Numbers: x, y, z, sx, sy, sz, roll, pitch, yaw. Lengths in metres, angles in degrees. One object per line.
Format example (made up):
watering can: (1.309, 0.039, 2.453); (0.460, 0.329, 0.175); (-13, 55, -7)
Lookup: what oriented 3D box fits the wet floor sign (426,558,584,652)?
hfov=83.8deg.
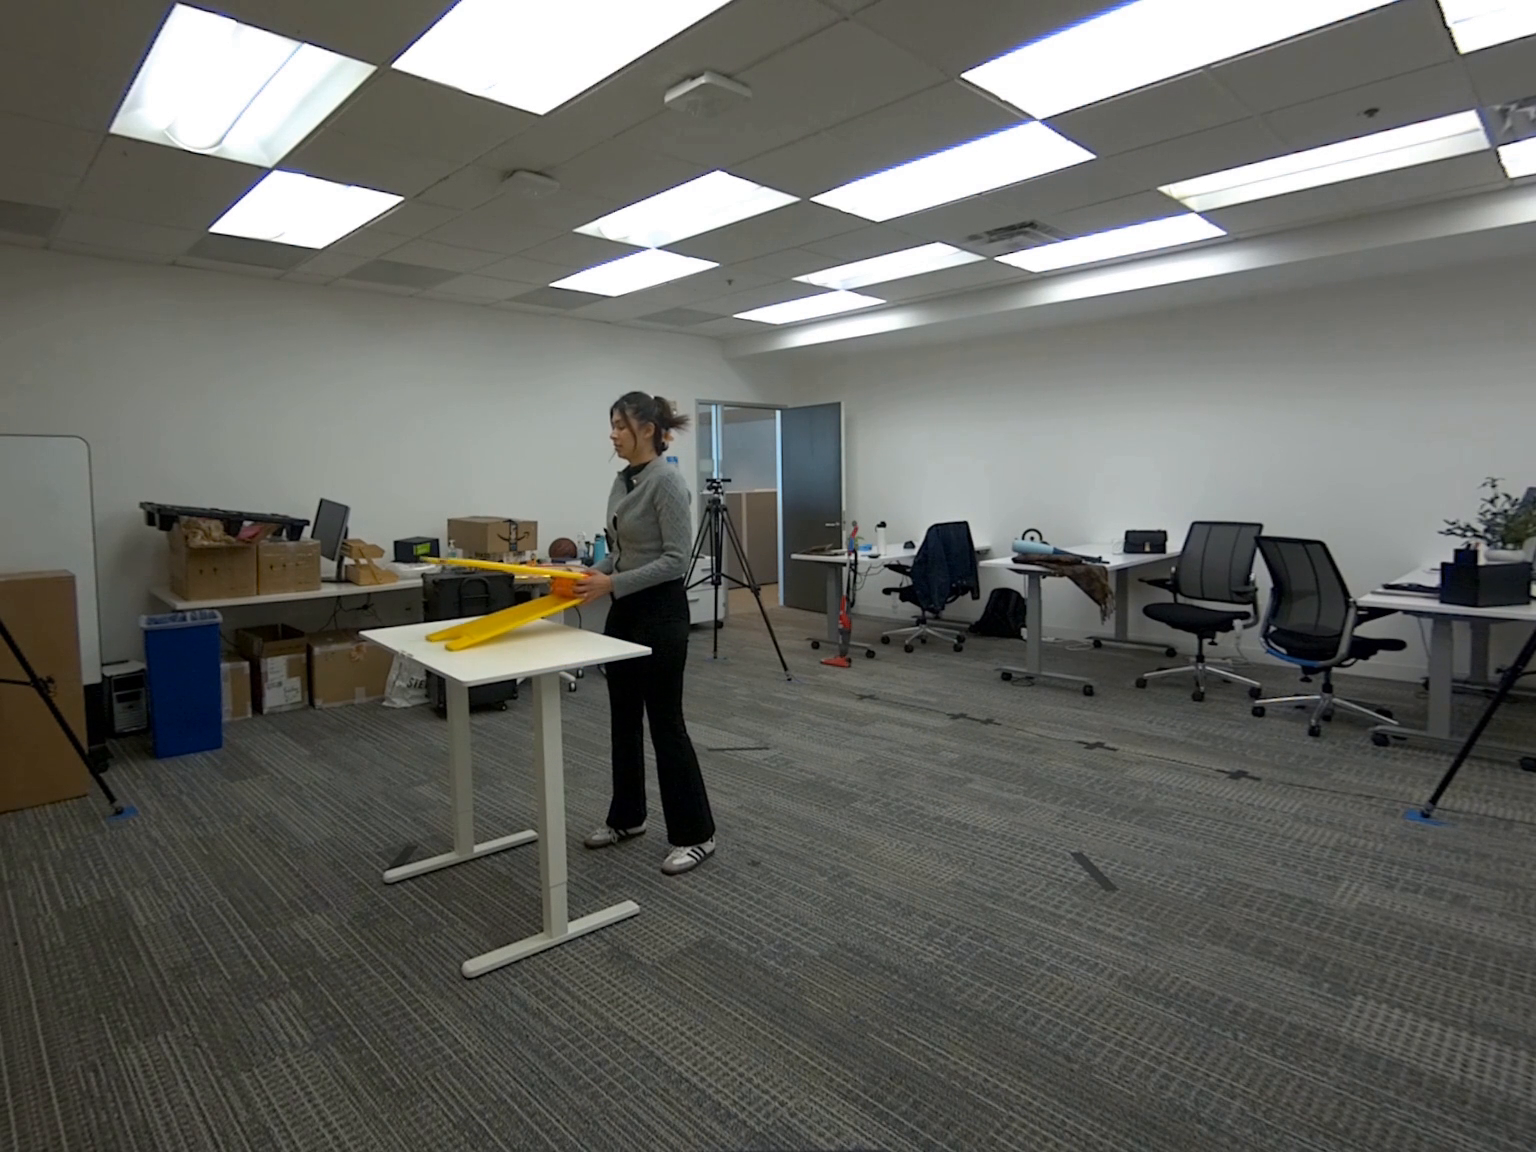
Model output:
wet floor sign: (-0.831, 0.051, 2.951); (0.630, 0.288, 0.290); (-8, 7, -37)
